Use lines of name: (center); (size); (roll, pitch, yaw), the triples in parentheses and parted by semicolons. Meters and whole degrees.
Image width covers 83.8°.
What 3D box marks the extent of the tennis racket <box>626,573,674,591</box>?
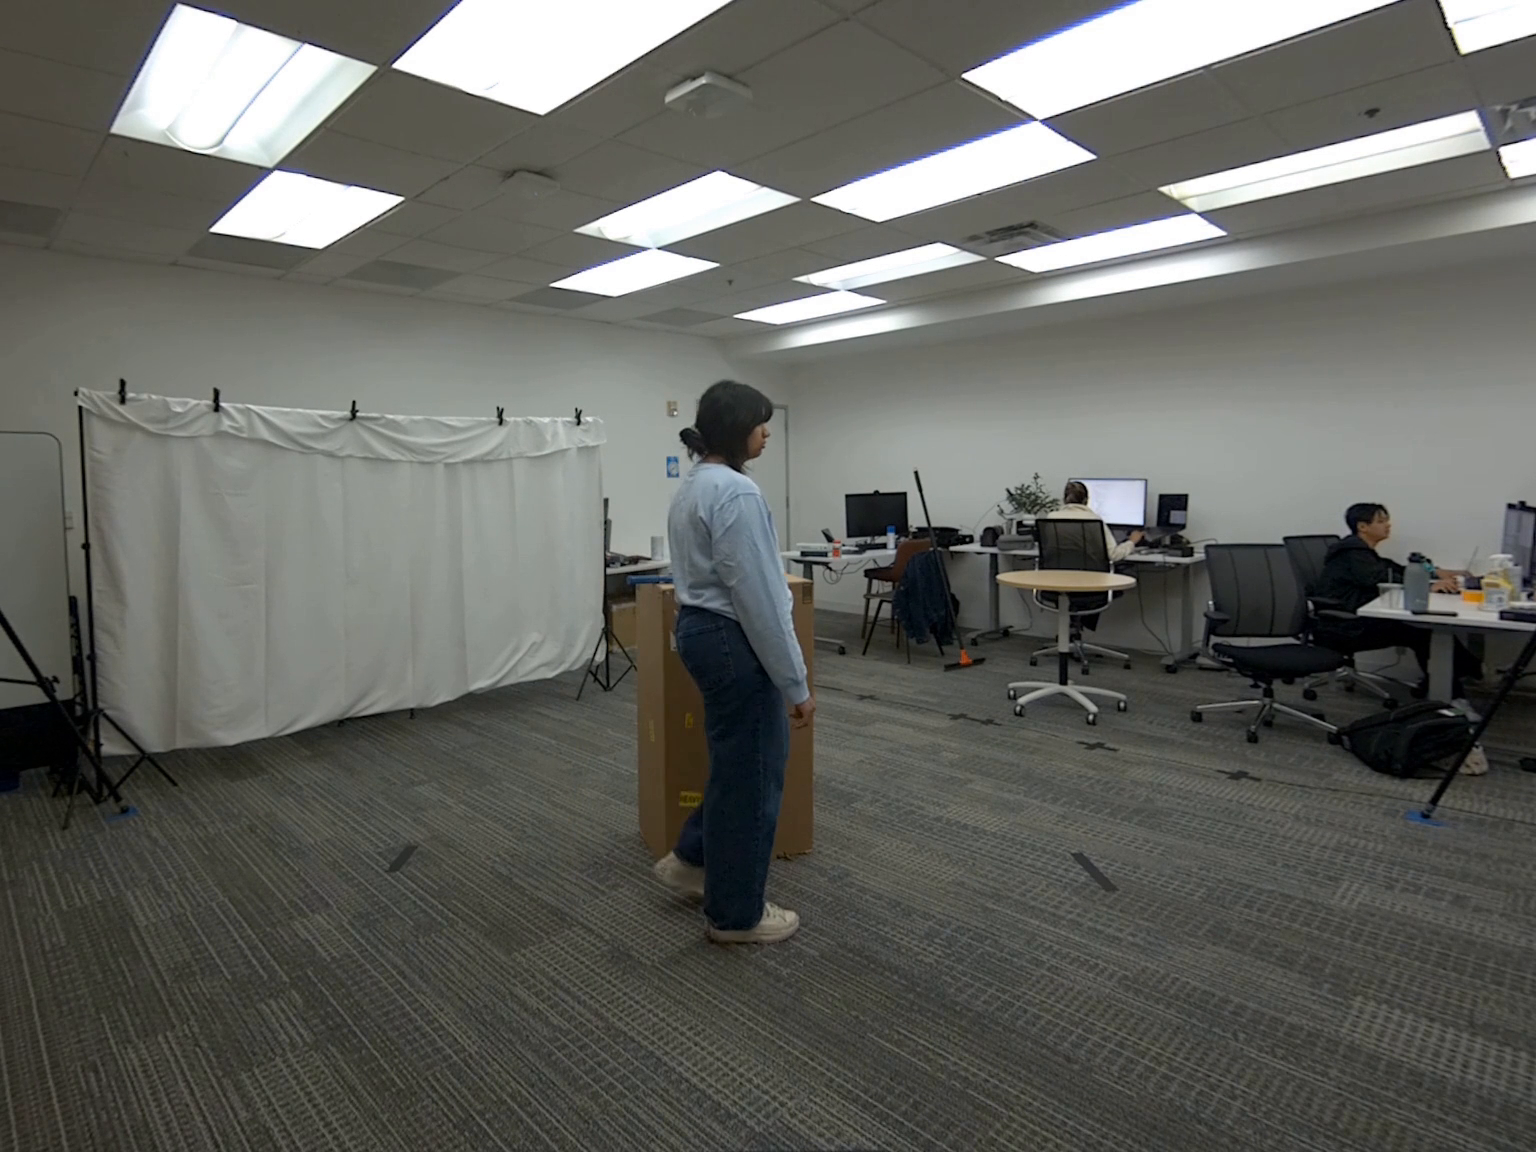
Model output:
tennis racket: (-0.281, 0.012, 3.143); (0.421, 0.031, 0.220); (-4, 7, -38)
